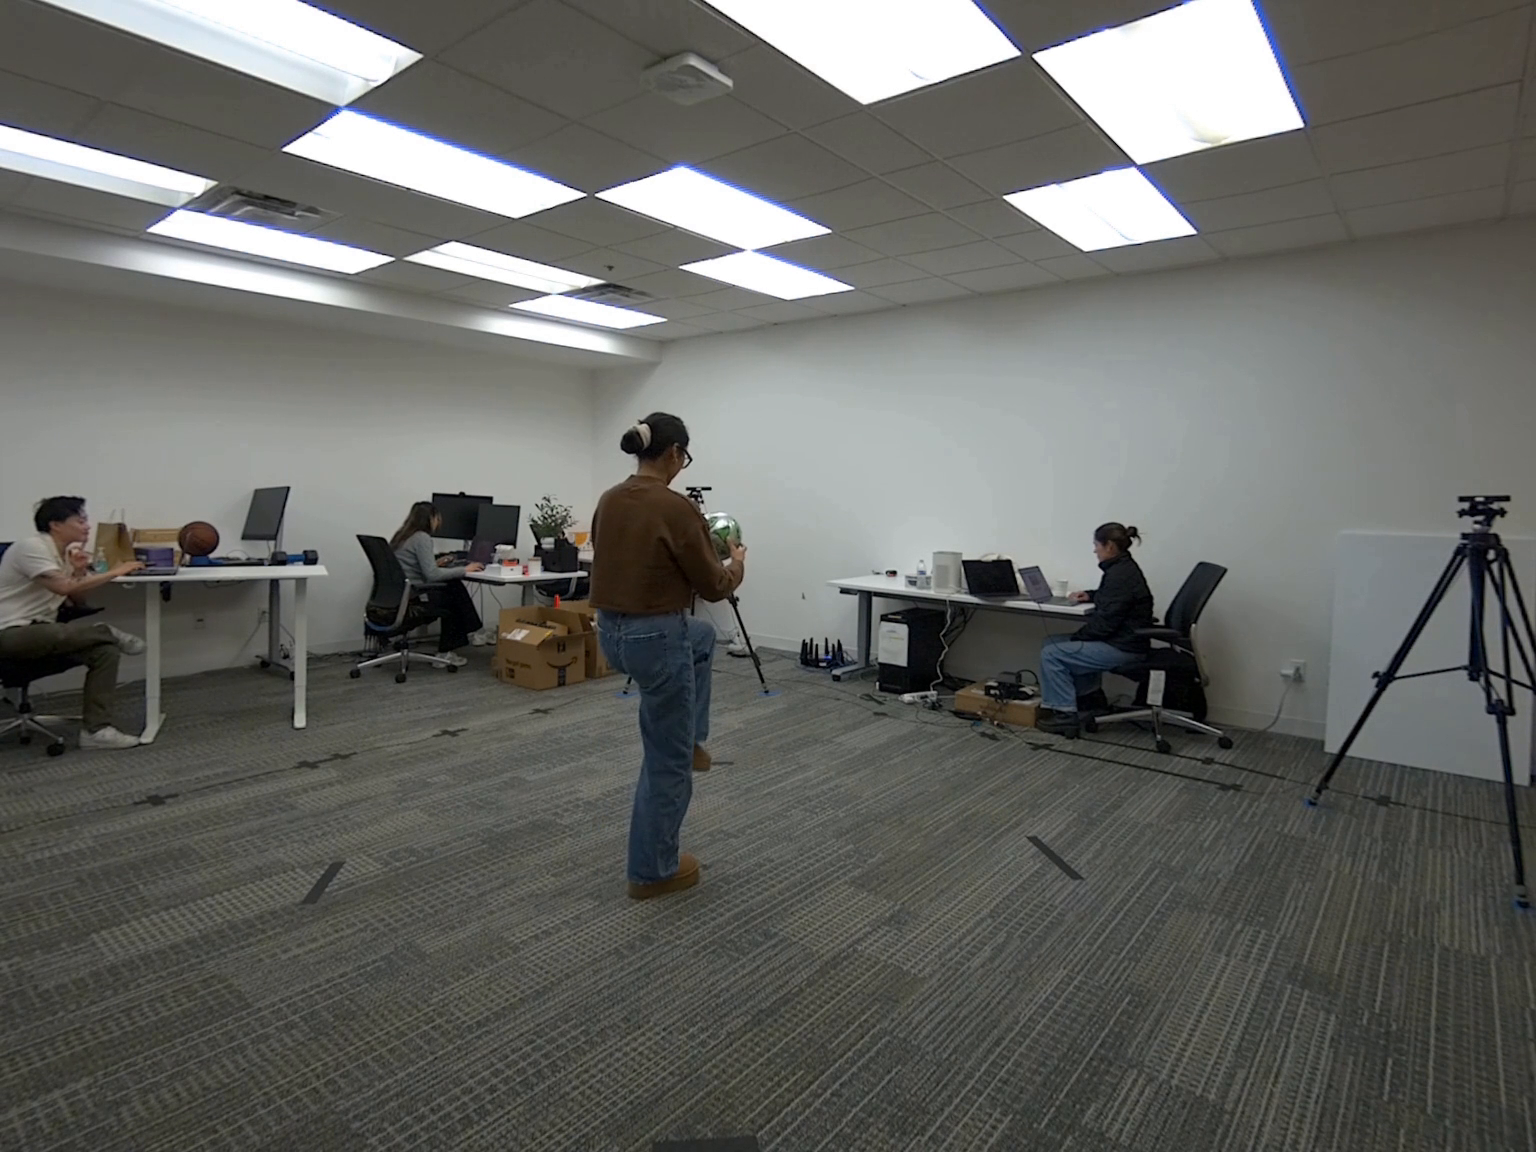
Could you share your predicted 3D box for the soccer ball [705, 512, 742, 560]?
[{"bbox_3d":[-0.205,-0.159,3.207,0.187,0.187,0.188,1,4,-2],"label":"soccer ball"}]
